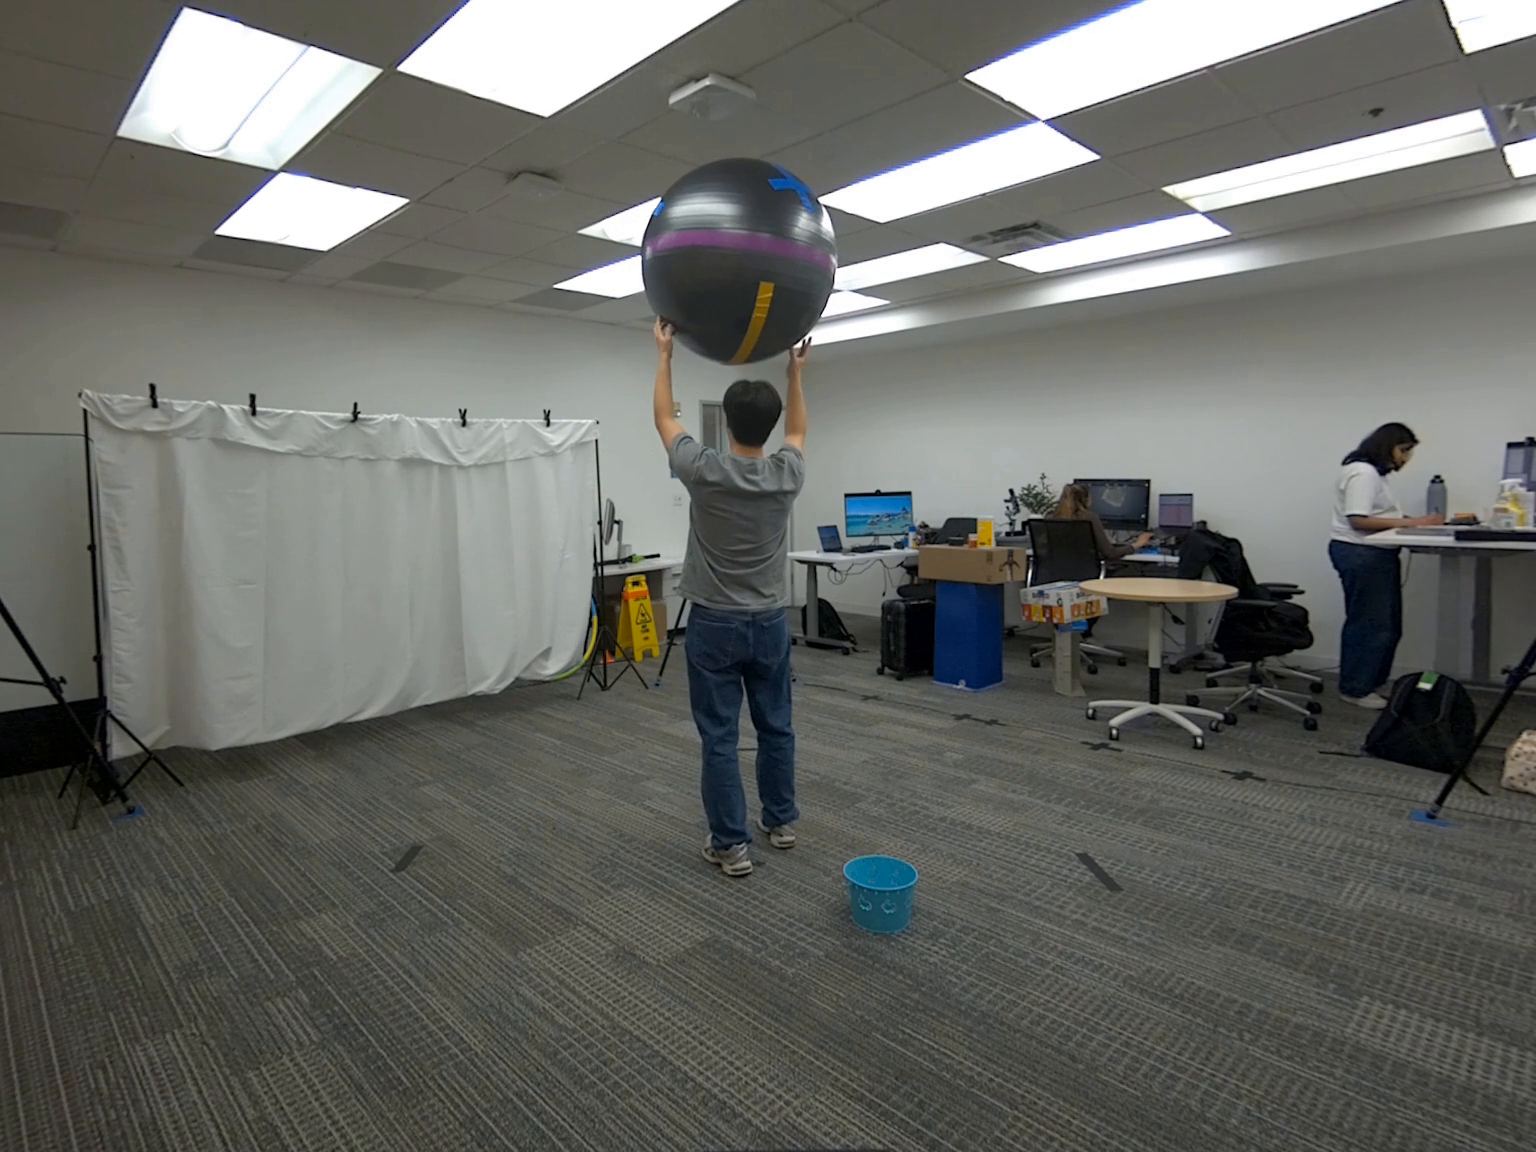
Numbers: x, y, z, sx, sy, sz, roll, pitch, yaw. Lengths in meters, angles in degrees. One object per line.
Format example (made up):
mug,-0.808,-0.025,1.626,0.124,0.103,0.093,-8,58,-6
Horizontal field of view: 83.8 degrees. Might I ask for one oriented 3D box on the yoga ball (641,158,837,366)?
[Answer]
yoga ball,-0.114,-1.197,3.301,0.757,0.755,0.762,-1,5,-2
